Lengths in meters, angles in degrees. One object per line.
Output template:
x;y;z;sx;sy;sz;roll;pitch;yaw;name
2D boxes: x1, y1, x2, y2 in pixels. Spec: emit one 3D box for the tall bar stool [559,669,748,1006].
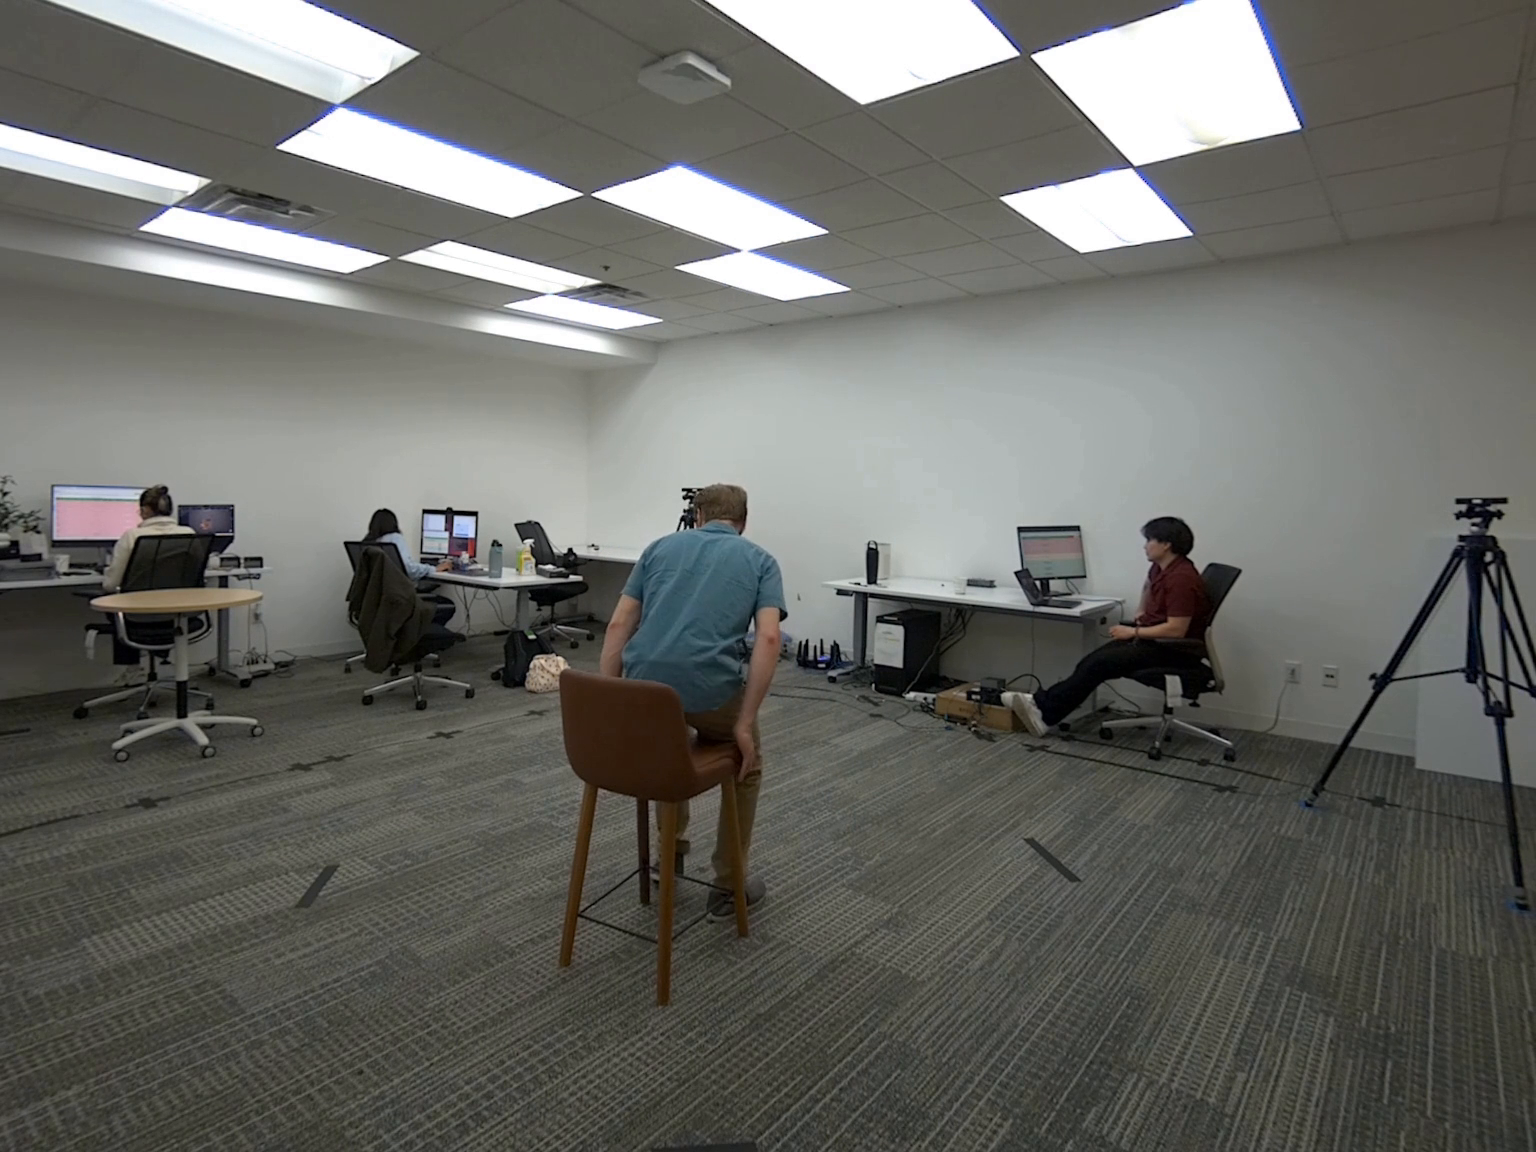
-0.348;0.684;2.539;0.470;0.886;0.456;2;5;29;tall bar stool
